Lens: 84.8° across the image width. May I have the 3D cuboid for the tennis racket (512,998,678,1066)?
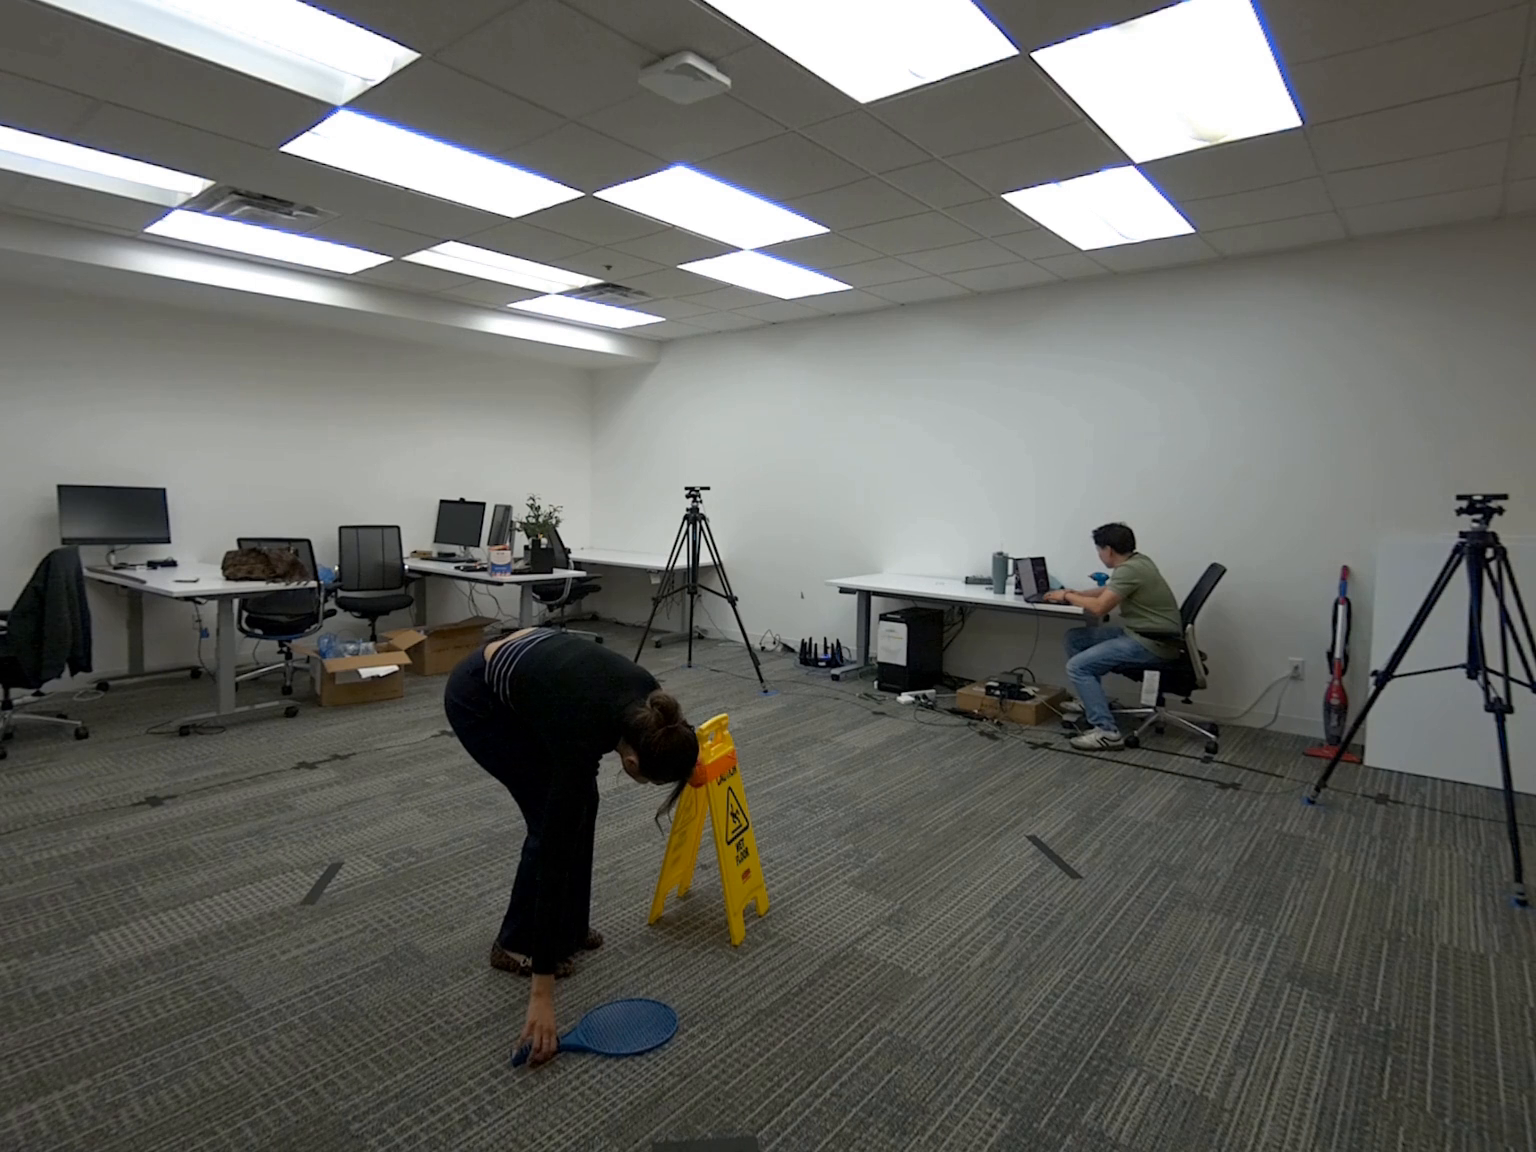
[{"bbox_3d":[-0.433,1.138,2.147,0.422,0.031,0.220,1,5,-26],"label":"tennis racket"}]
